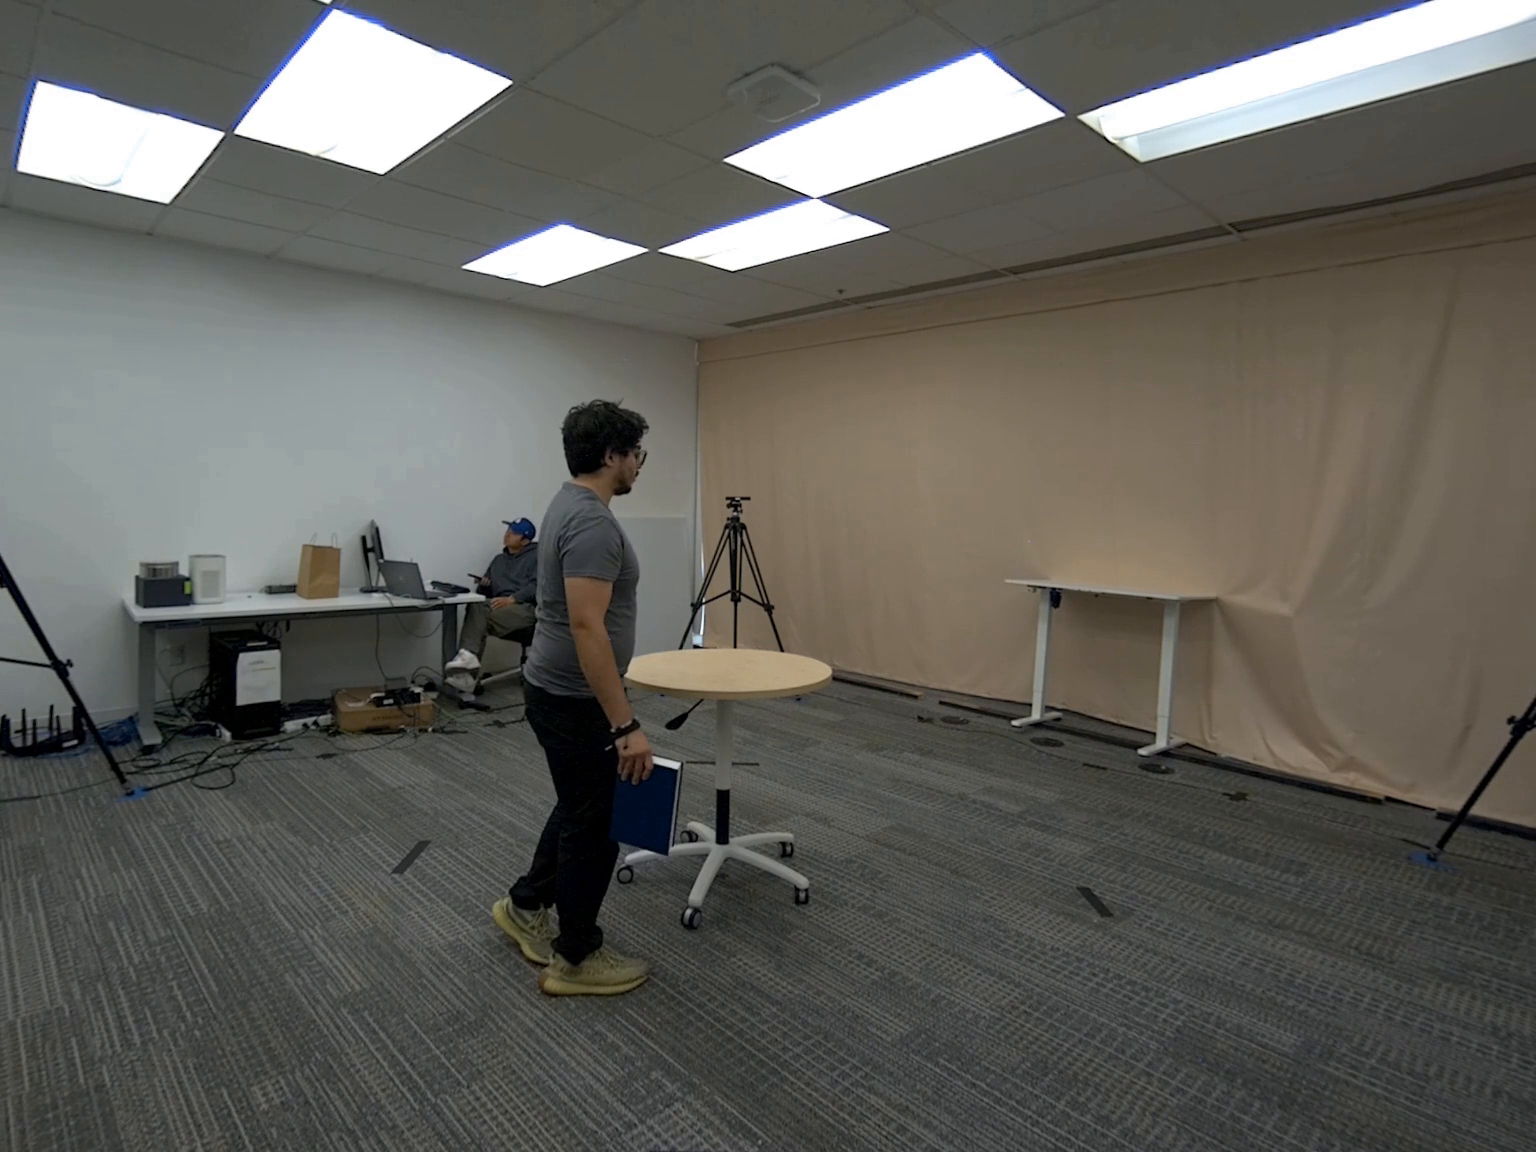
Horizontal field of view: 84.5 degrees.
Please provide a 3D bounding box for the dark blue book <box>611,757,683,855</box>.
[{"bbox_3d":[-0.319,0.563,2.141,0.165,0.243,0.045,10,13,13],"label":"dark blue book"}]
